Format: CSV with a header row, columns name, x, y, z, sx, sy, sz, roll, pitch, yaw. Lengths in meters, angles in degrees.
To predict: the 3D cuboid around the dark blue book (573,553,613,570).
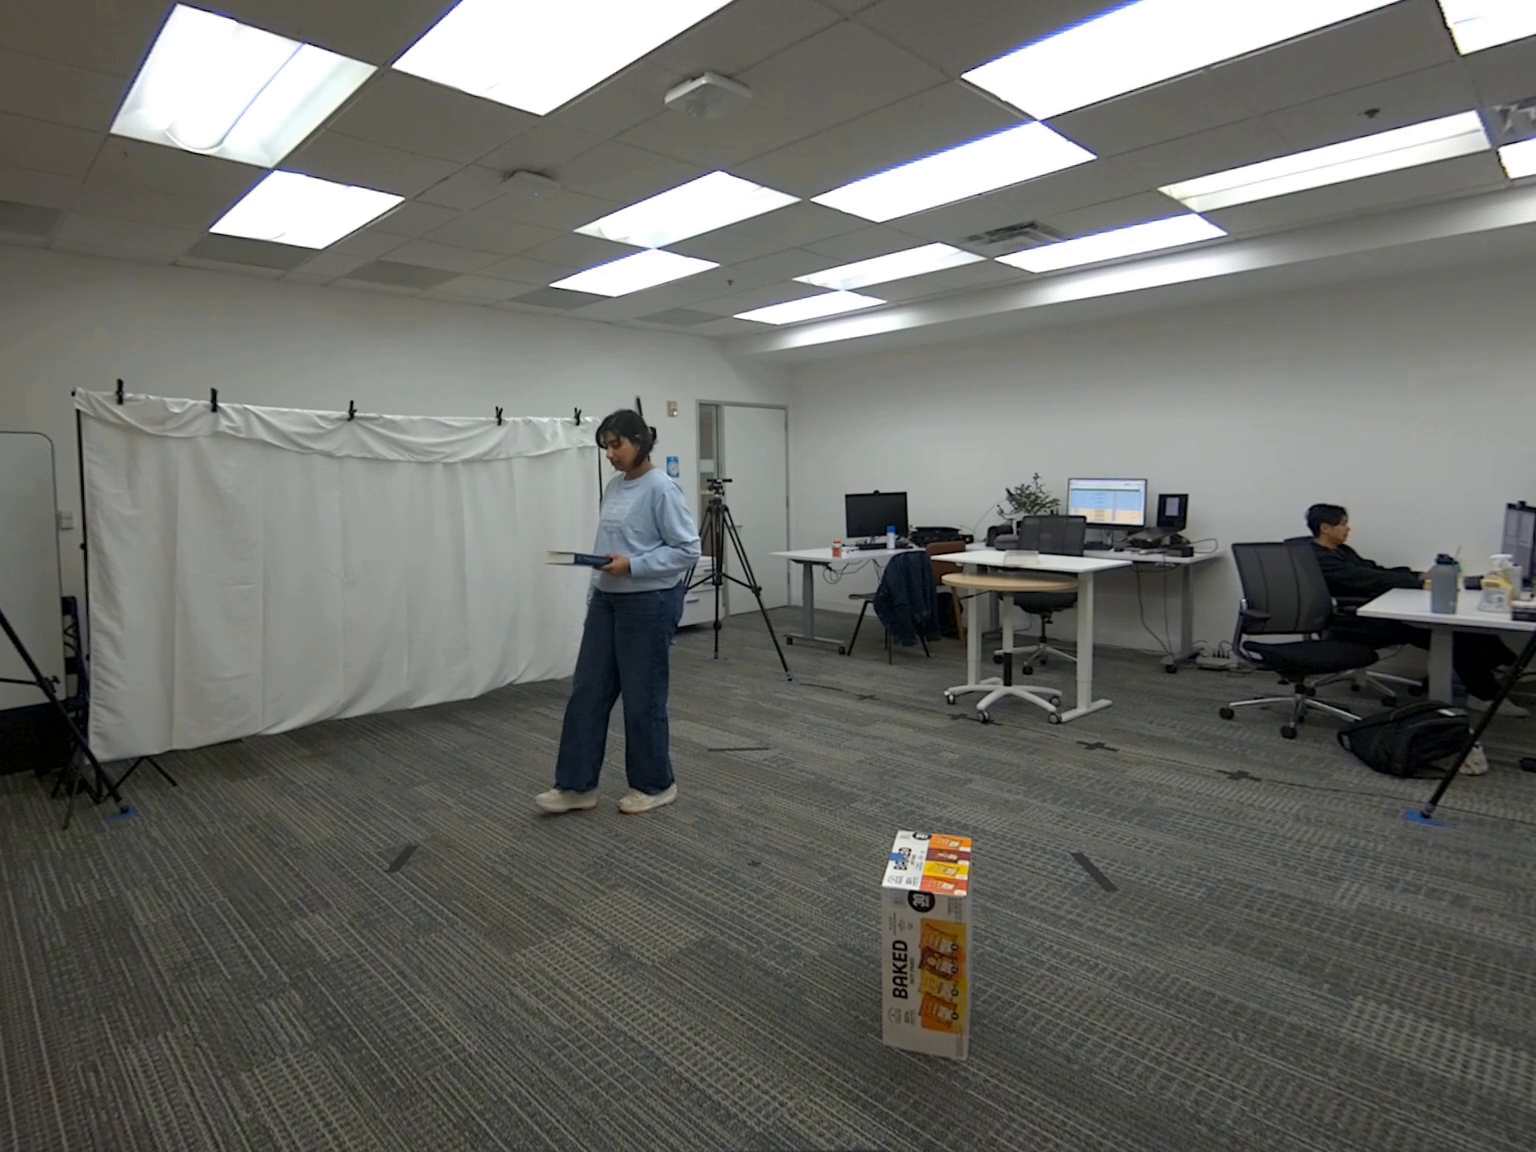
name,x,y,z,sx,sy,sz,roll,pitch,yaw
dark blue book,-0.720,-0.062,3.399,0.168,0.045,0.238,4,0,33
